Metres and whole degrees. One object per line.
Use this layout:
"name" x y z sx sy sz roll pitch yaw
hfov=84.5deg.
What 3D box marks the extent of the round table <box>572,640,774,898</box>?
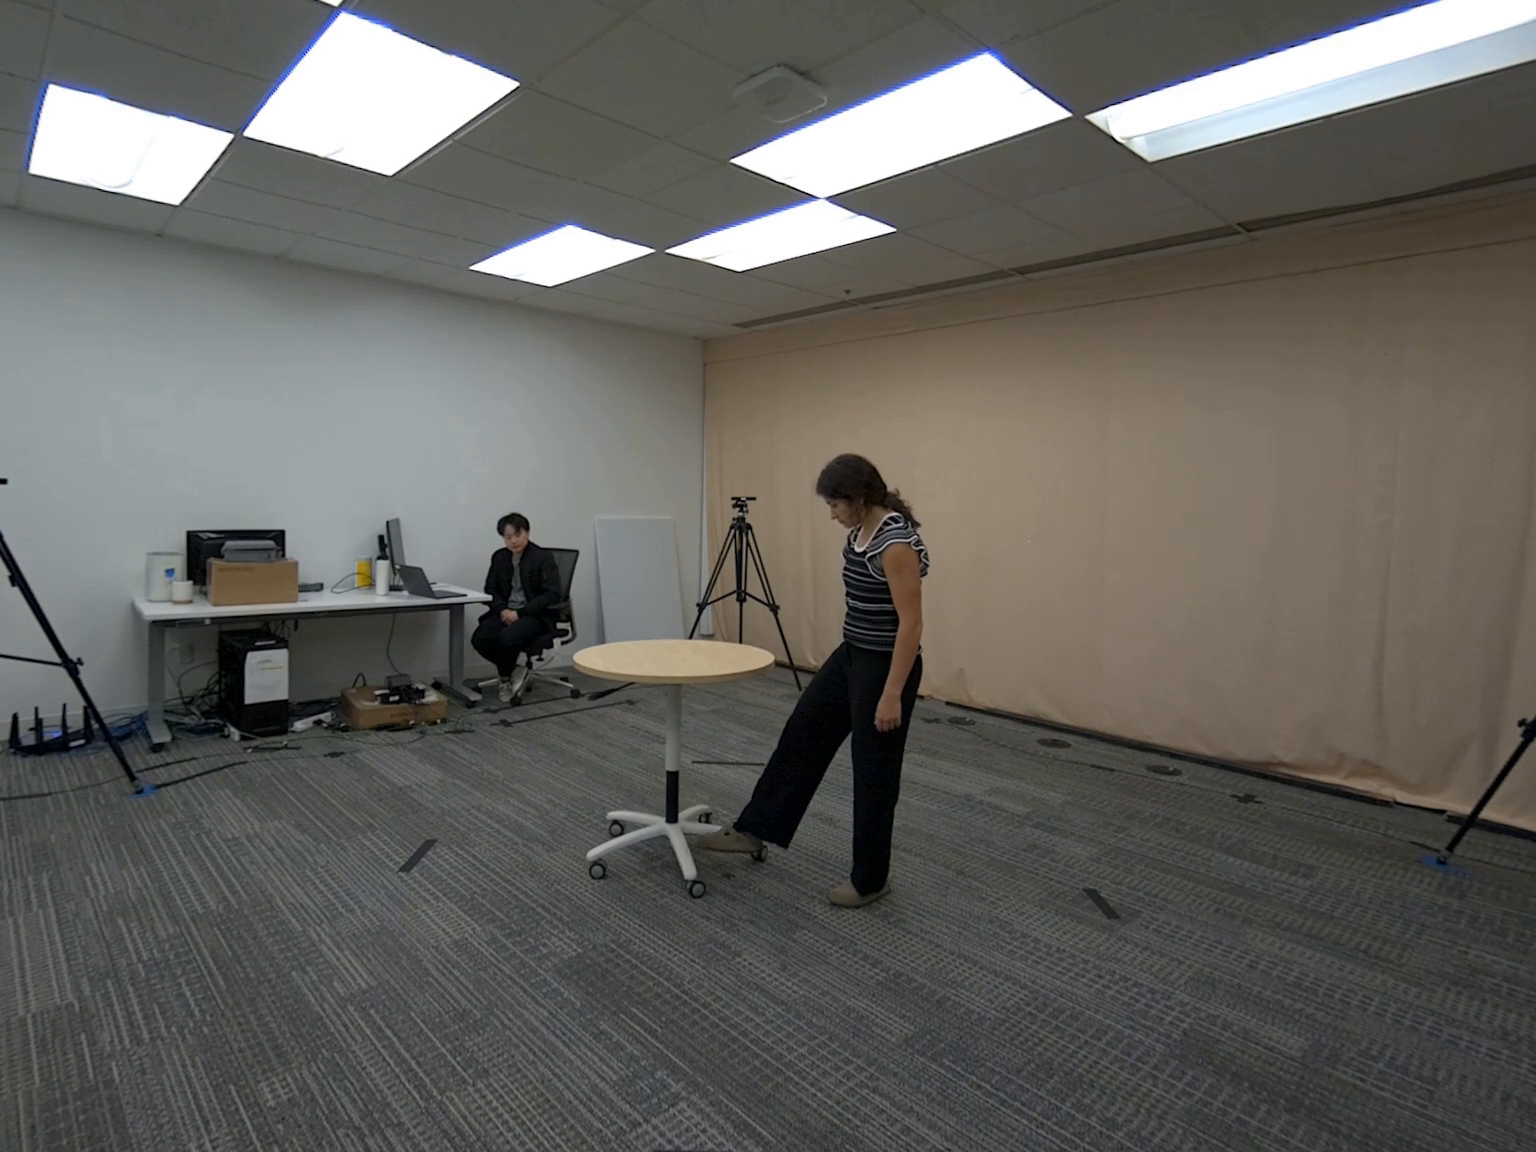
"round table" -0.356 0.696 3.237 0.784 0.784 0.788 1 4 -1
